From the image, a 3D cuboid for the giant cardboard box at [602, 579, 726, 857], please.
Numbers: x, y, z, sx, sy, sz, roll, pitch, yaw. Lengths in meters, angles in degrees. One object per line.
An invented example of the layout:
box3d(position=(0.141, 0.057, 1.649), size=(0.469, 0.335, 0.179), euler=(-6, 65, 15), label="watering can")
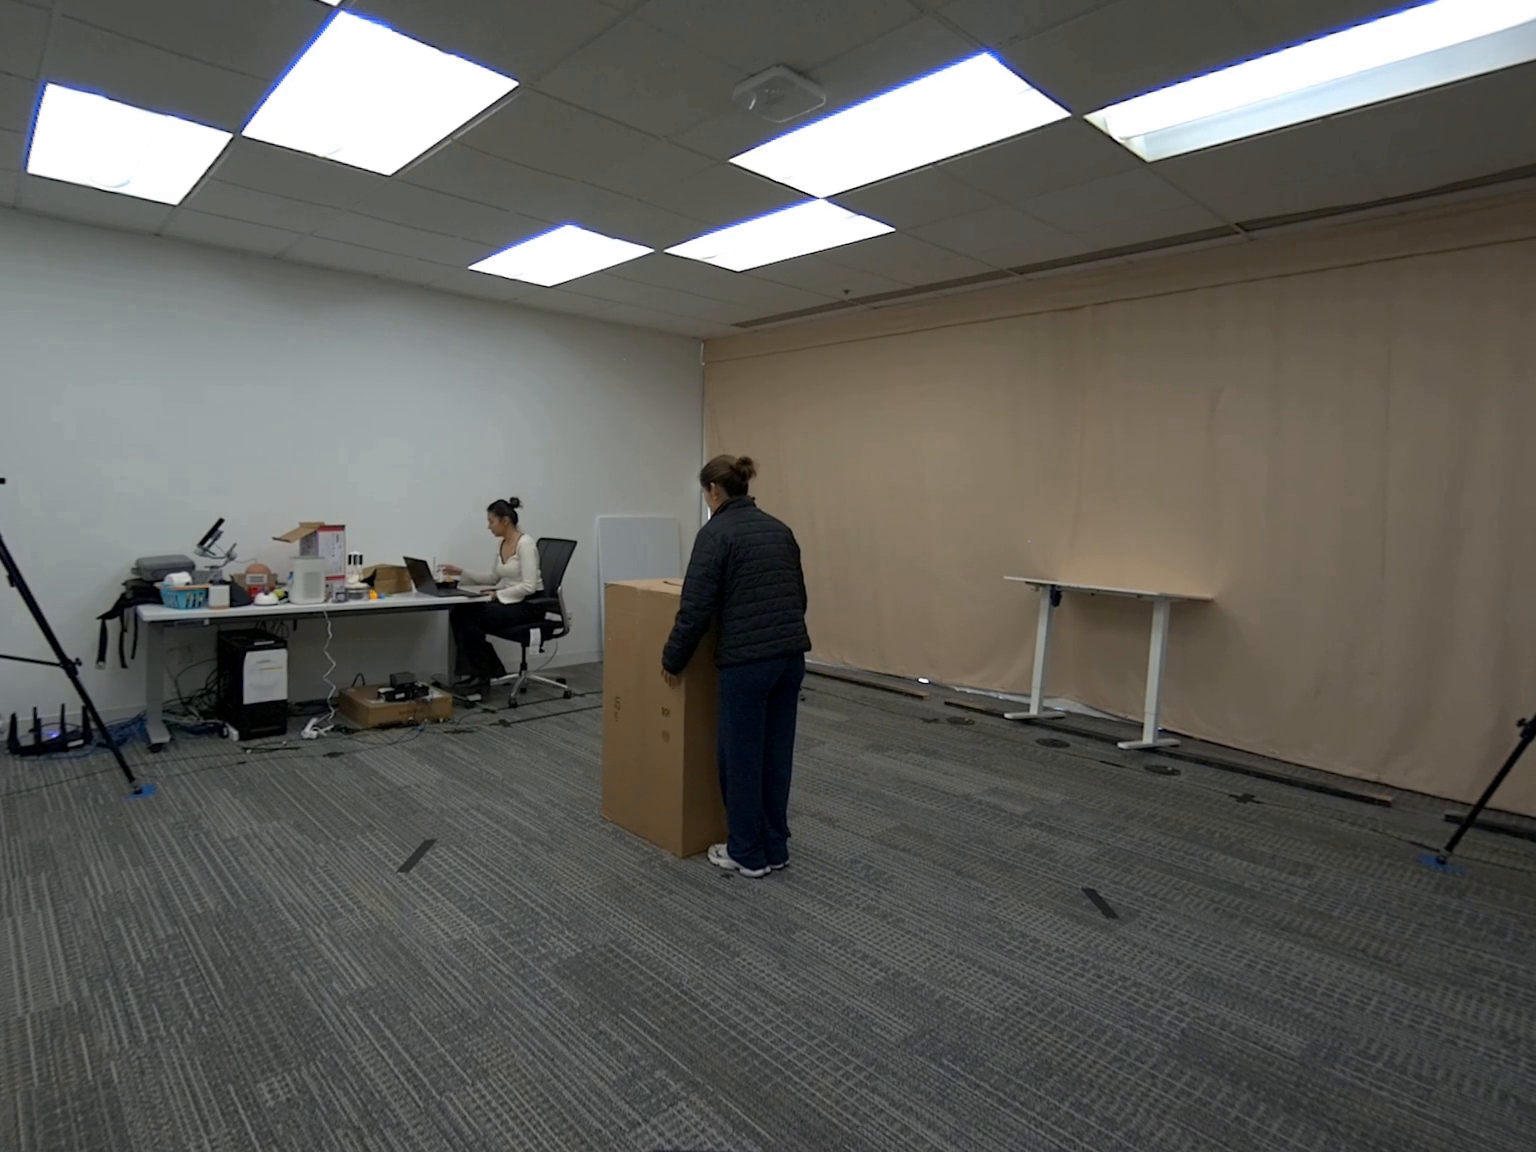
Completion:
box3d(position=(-0.376, 0.554, 3.560), size=(0.416, 1.023, 0.592), euler=(-2, 5, -43), label="giant cardboard box")
